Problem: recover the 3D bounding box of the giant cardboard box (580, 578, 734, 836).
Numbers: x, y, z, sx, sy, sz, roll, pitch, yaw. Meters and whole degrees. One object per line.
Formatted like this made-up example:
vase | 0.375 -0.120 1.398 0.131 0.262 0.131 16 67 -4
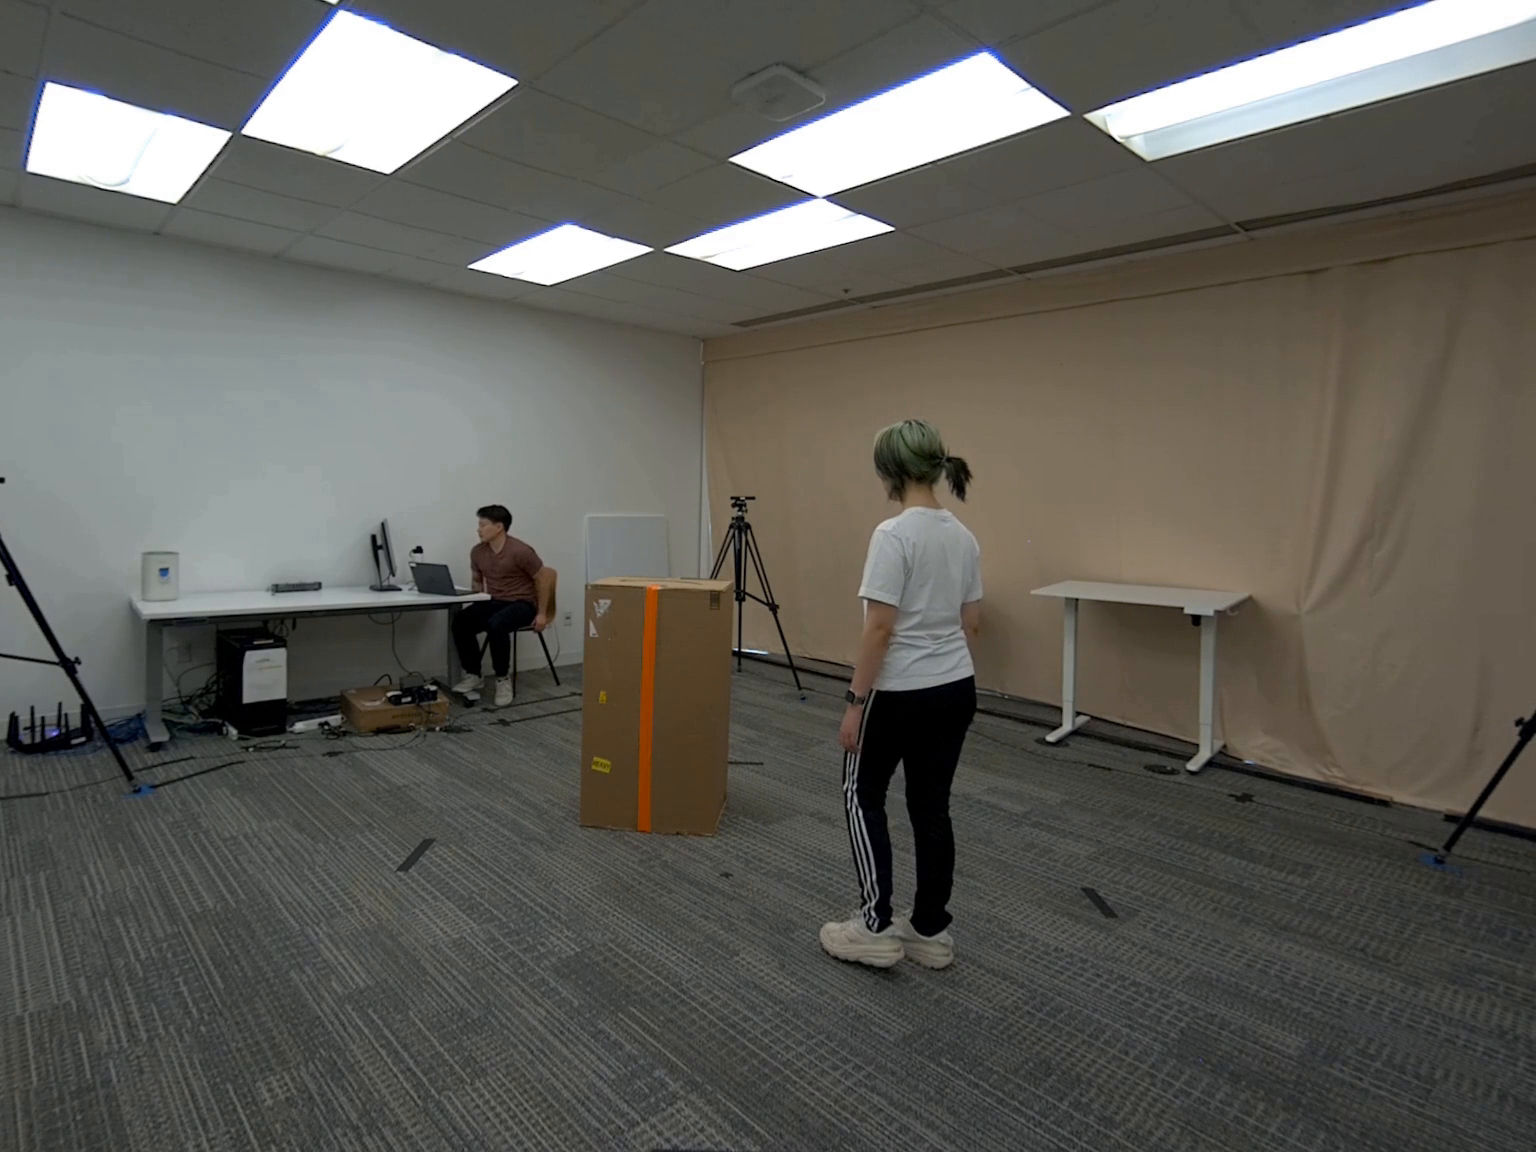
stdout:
giant cardboard box | -0.481 0.537 3.677 0.587 1.025 0.445 2 3 6
